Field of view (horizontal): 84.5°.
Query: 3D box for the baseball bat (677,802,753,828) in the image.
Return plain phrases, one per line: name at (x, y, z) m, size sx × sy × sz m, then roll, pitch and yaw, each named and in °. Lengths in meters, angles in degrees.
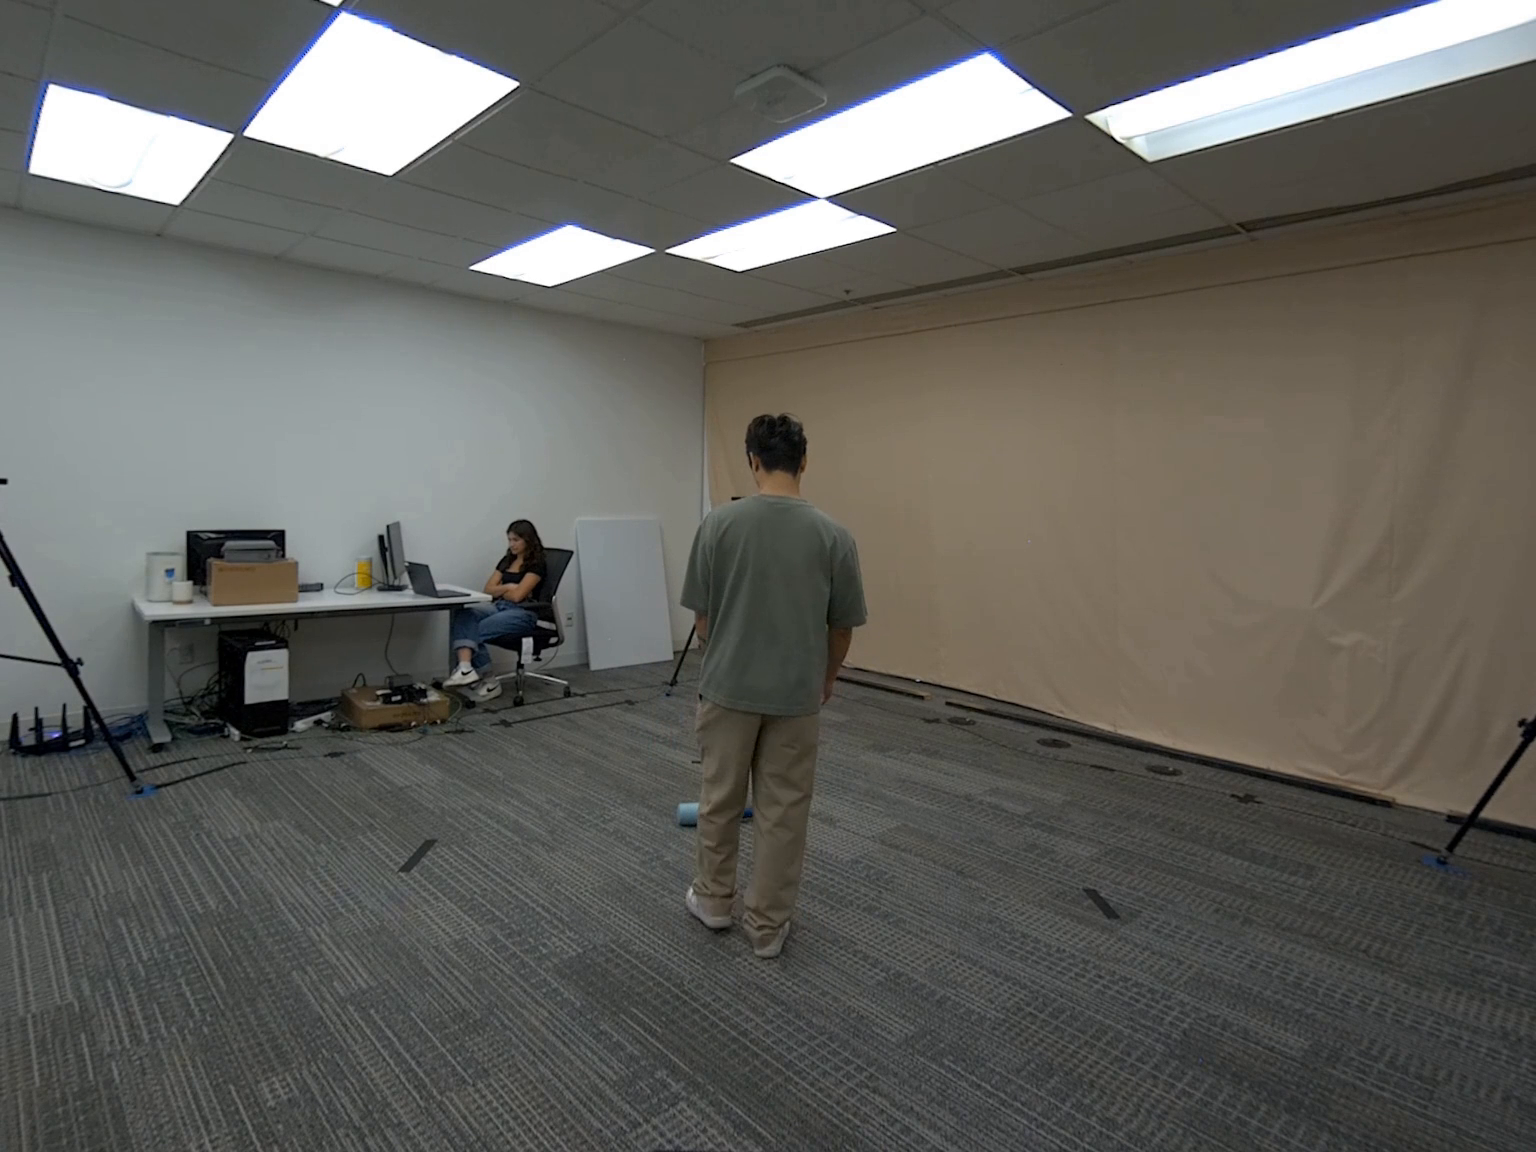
baseball bat at (-0.132, 1.026, 3.633) m, size 0.537 × 0.089 × 0.090 m, roll 2°, pitch 4°, yaw -12°
